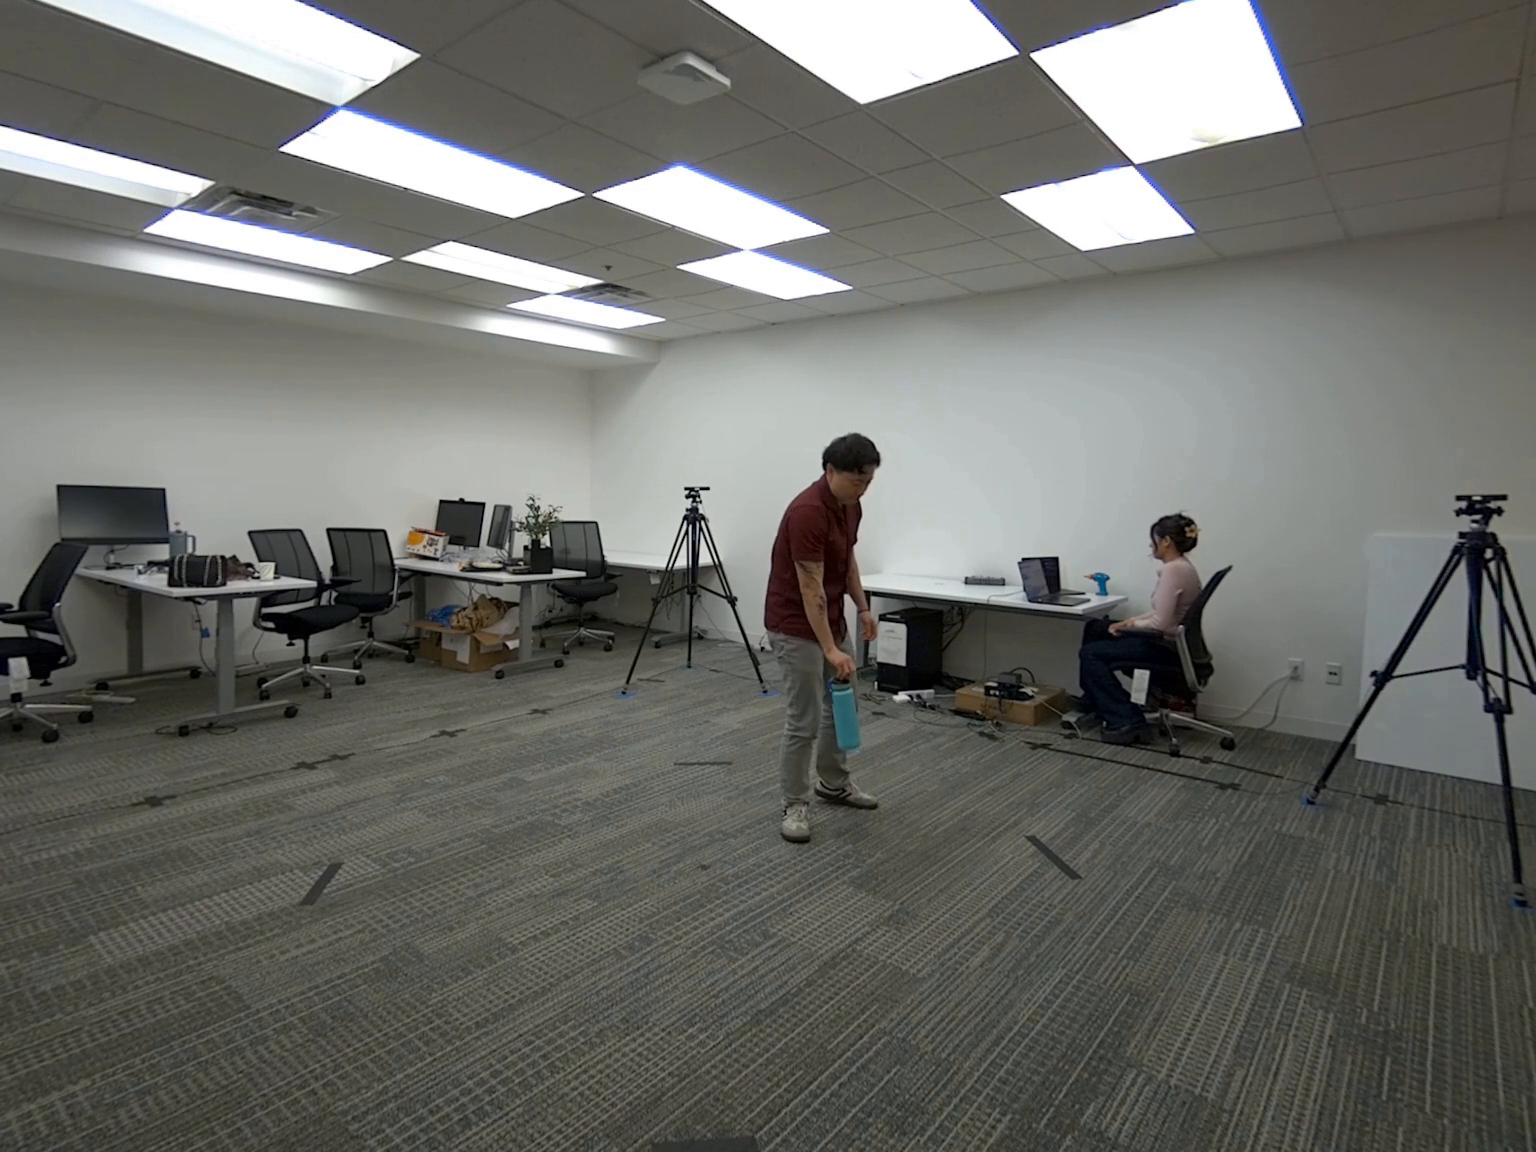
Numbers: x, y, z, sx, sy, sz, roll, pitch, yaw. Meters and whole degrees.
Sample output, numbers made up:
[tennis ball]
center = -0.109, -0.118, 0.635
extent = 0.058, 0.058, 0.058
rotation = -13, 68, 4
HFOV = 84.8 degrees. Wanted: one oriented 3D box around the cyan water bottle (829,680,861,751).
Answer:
[cyan water bottle]
center = 0.282, 0.522, 3.281
extent = 0.092, 0.281, 0.093
rotation = -8, 6, -1
